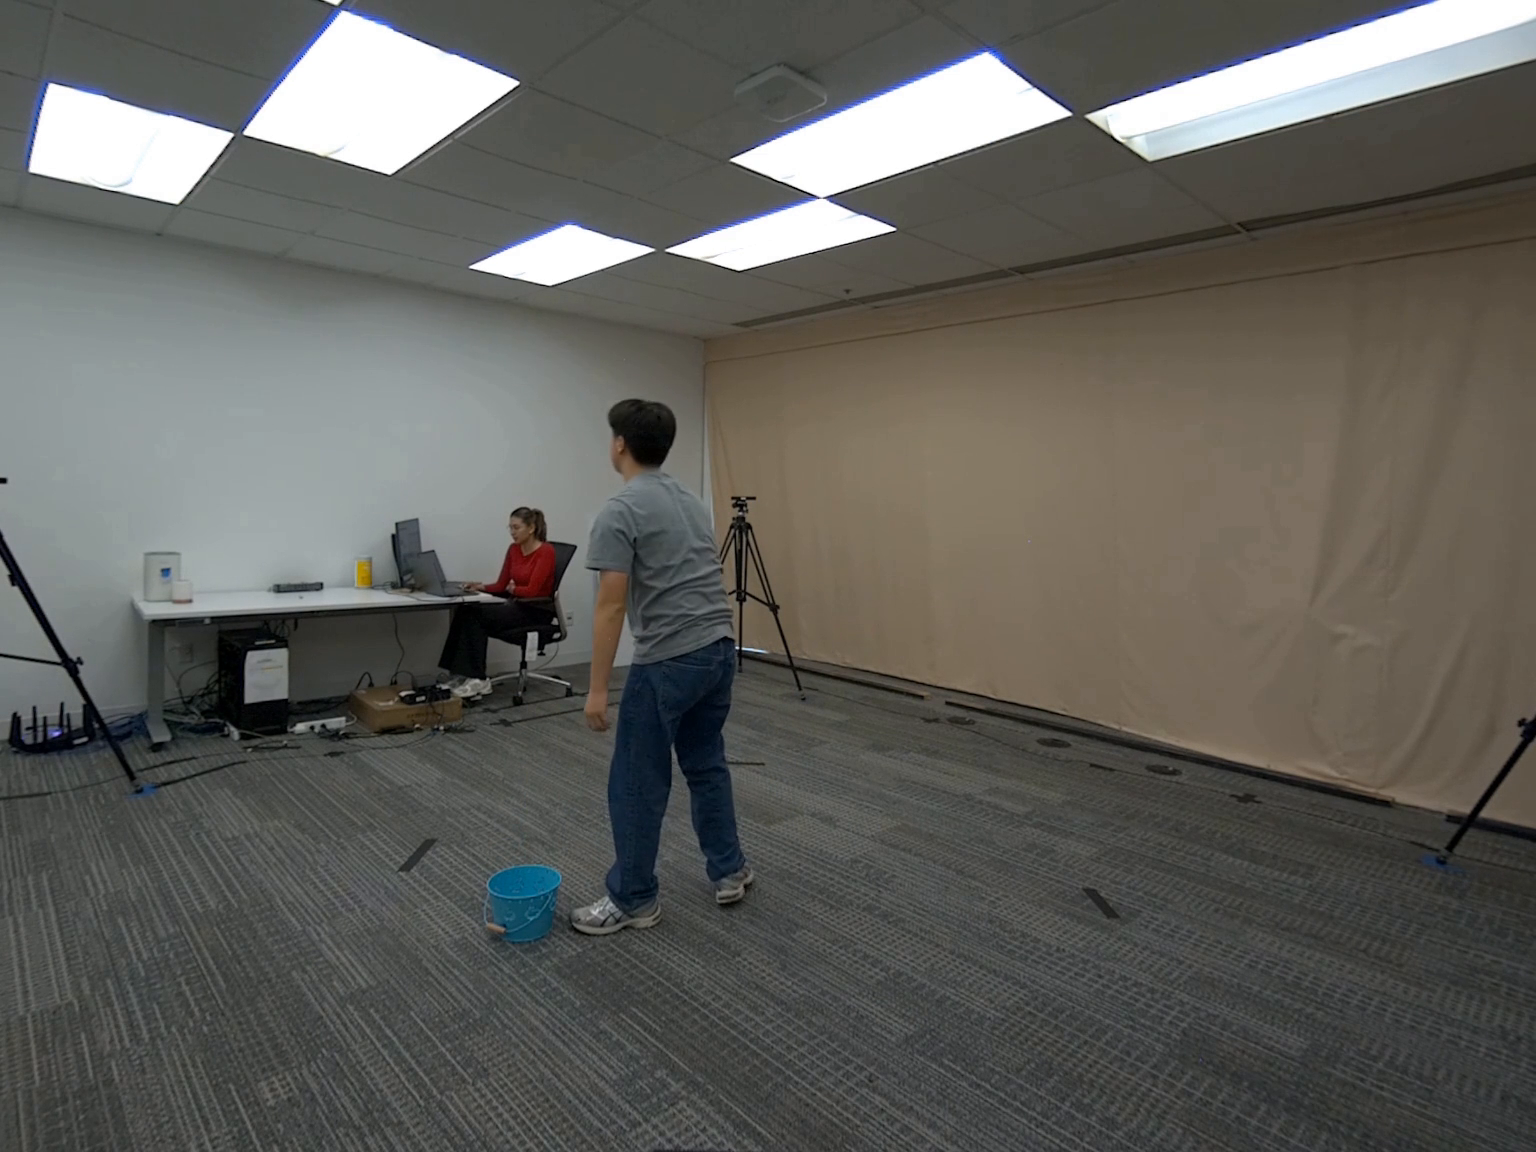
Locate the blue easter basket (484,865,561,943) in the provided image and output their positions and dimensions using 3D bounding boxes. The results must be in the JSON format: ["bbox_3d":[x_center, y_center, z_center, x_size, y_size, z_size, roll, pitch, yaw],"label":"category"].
[{"bbox_3d":[-0.785,1.048,2.696,0.243,0.155,0.244,1,5,-1],"label":"blue easter basket"}]
